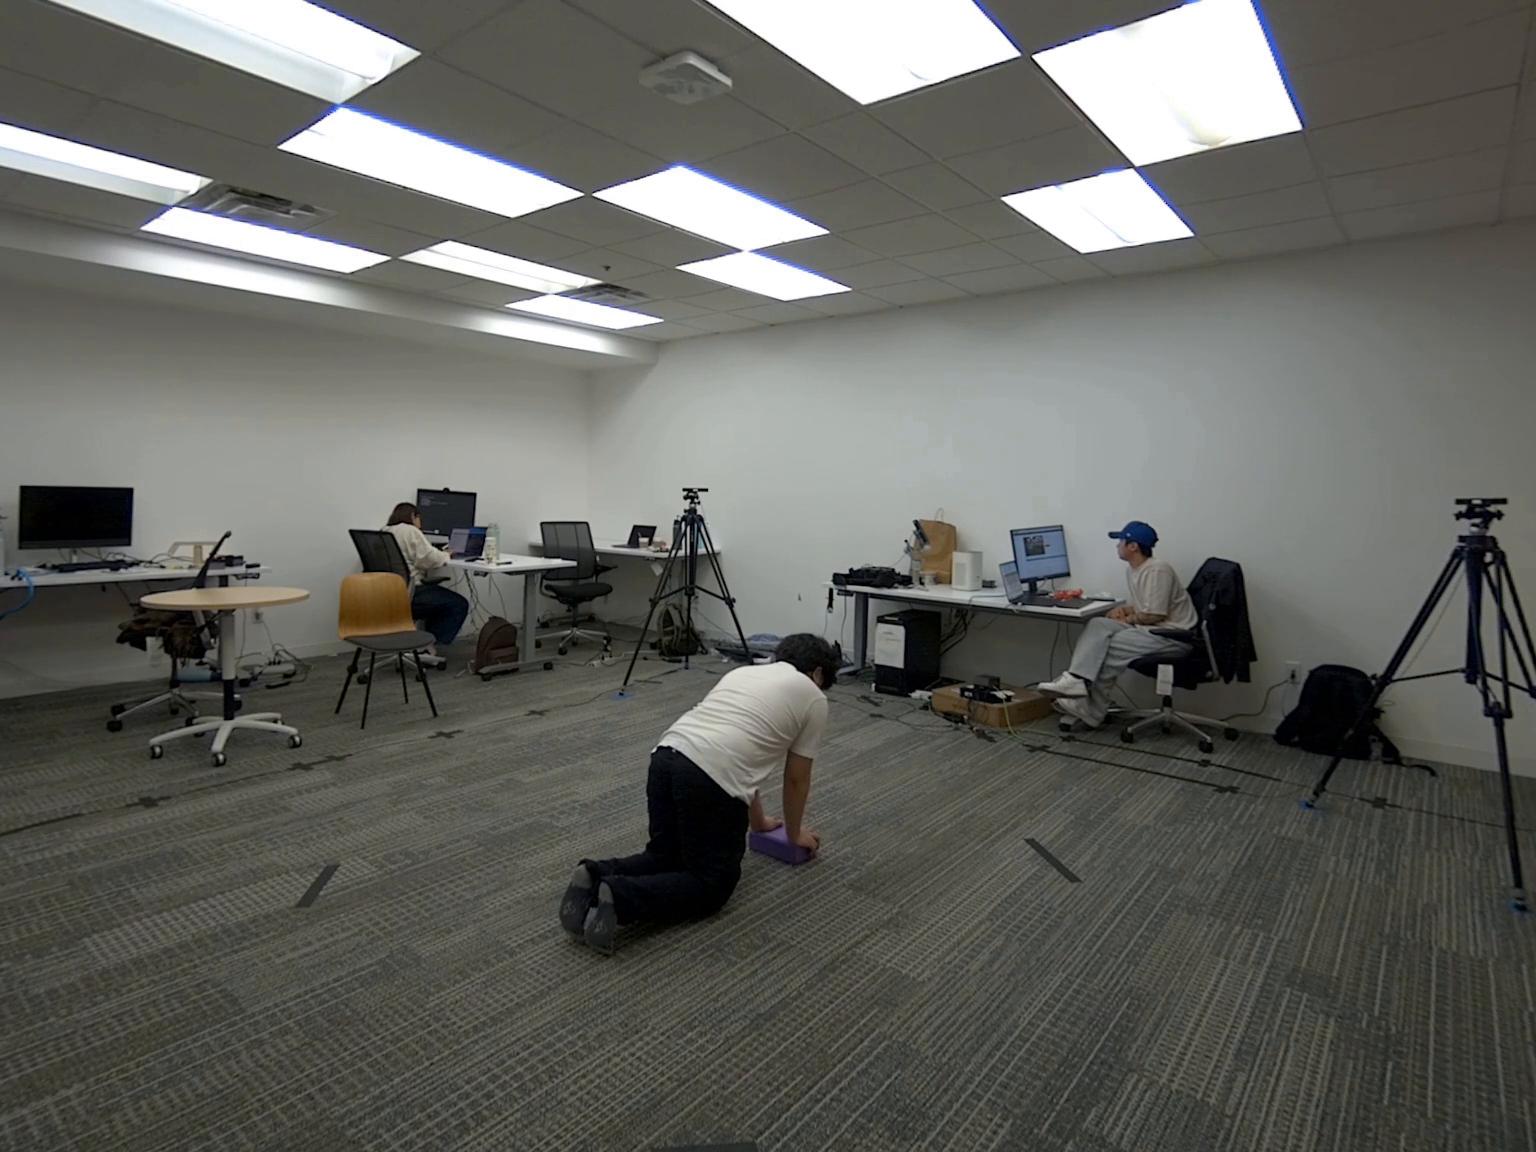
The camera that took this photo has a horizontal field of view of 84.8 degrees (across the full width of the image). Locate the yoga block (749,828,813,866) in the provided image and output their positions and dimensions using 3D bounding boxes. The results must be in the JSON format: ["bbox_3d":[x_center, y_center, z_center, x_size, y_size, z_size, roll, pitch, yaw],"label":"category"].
[{"bbox_3d":[0.046,1.020,3.279,0.237,0.076,0.144,5,3,39],"label":"yoga block"}]
